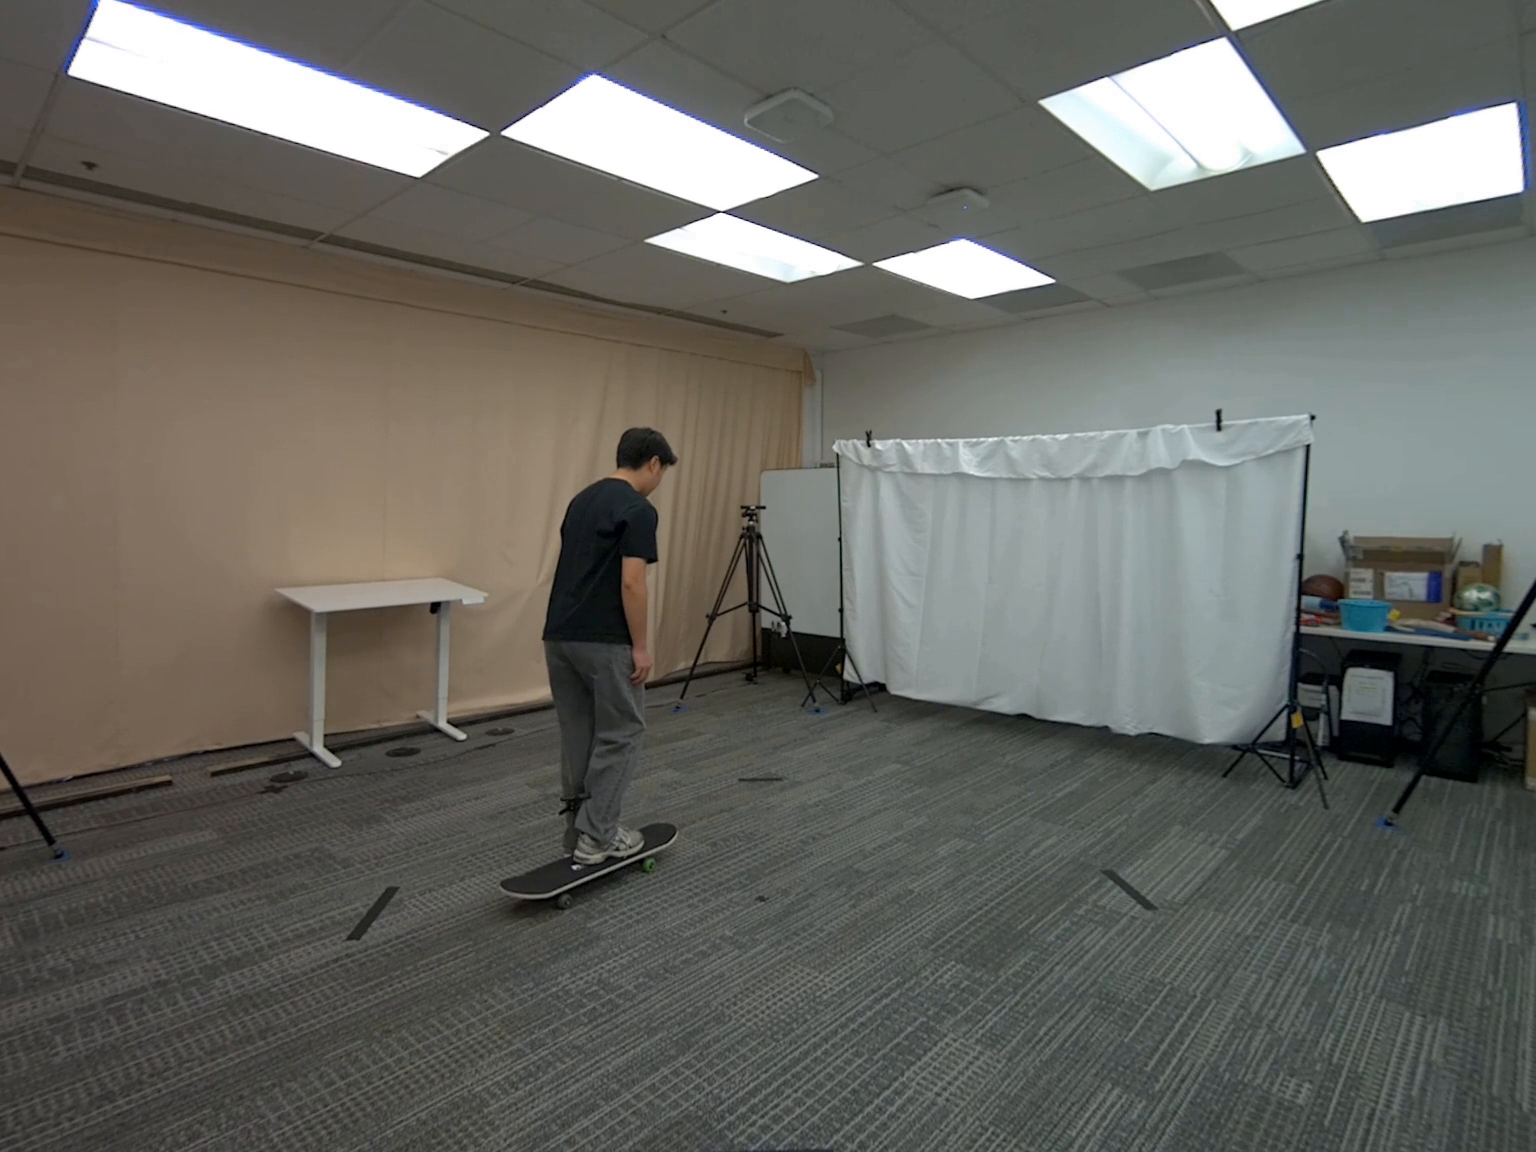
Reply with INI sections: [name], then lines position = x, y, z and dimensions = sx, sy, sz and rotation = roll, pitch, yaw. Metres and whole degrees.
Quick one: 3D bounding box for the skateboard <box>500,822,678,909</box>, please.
[skateboard]
position = -0.631, 1.088, 3.119
dimensions = 0.200, 0.110, 0.762
rotation = 3, 6, 40
